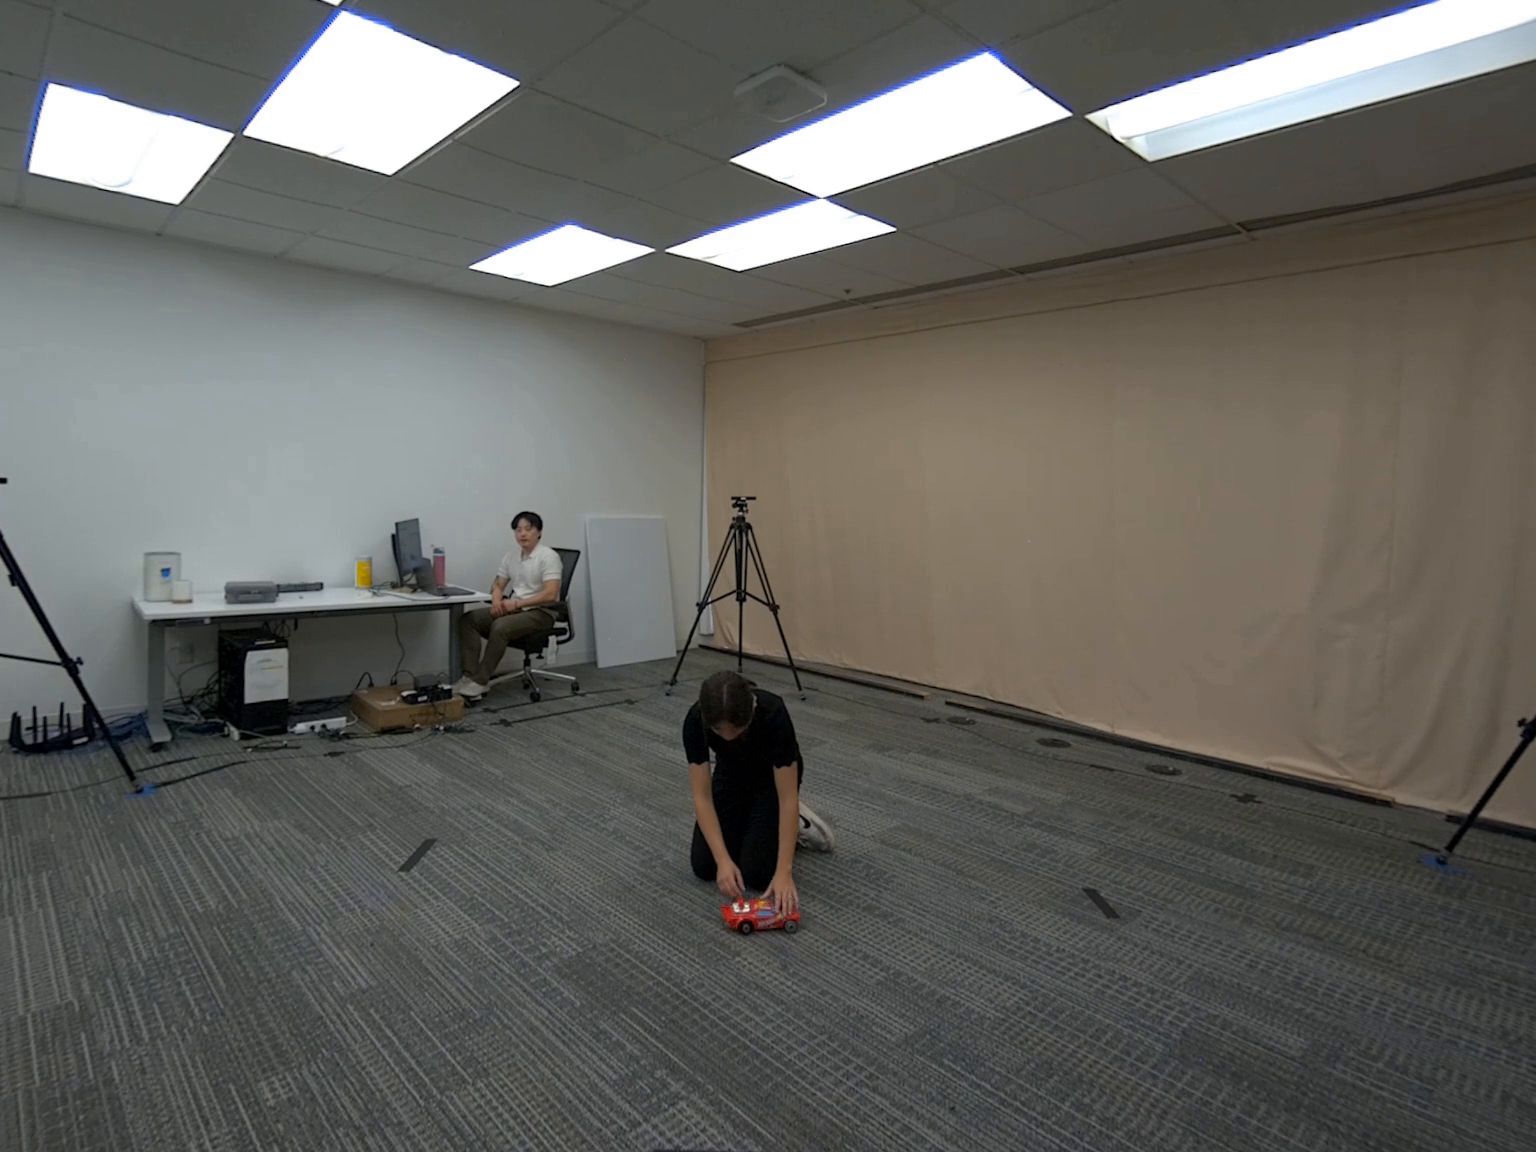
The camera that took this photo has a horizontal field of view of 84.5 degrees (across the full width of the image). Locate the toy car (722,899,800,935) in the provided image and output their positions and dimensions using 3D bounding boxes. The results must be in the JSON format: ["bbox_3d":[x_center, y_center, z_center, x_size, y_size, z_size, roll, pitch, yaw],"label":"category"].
[{"bbox_3d":[-0.045,1.111,2.741,0.252,0.083,0.131,12,3,-8],"label":"toy car"}]
